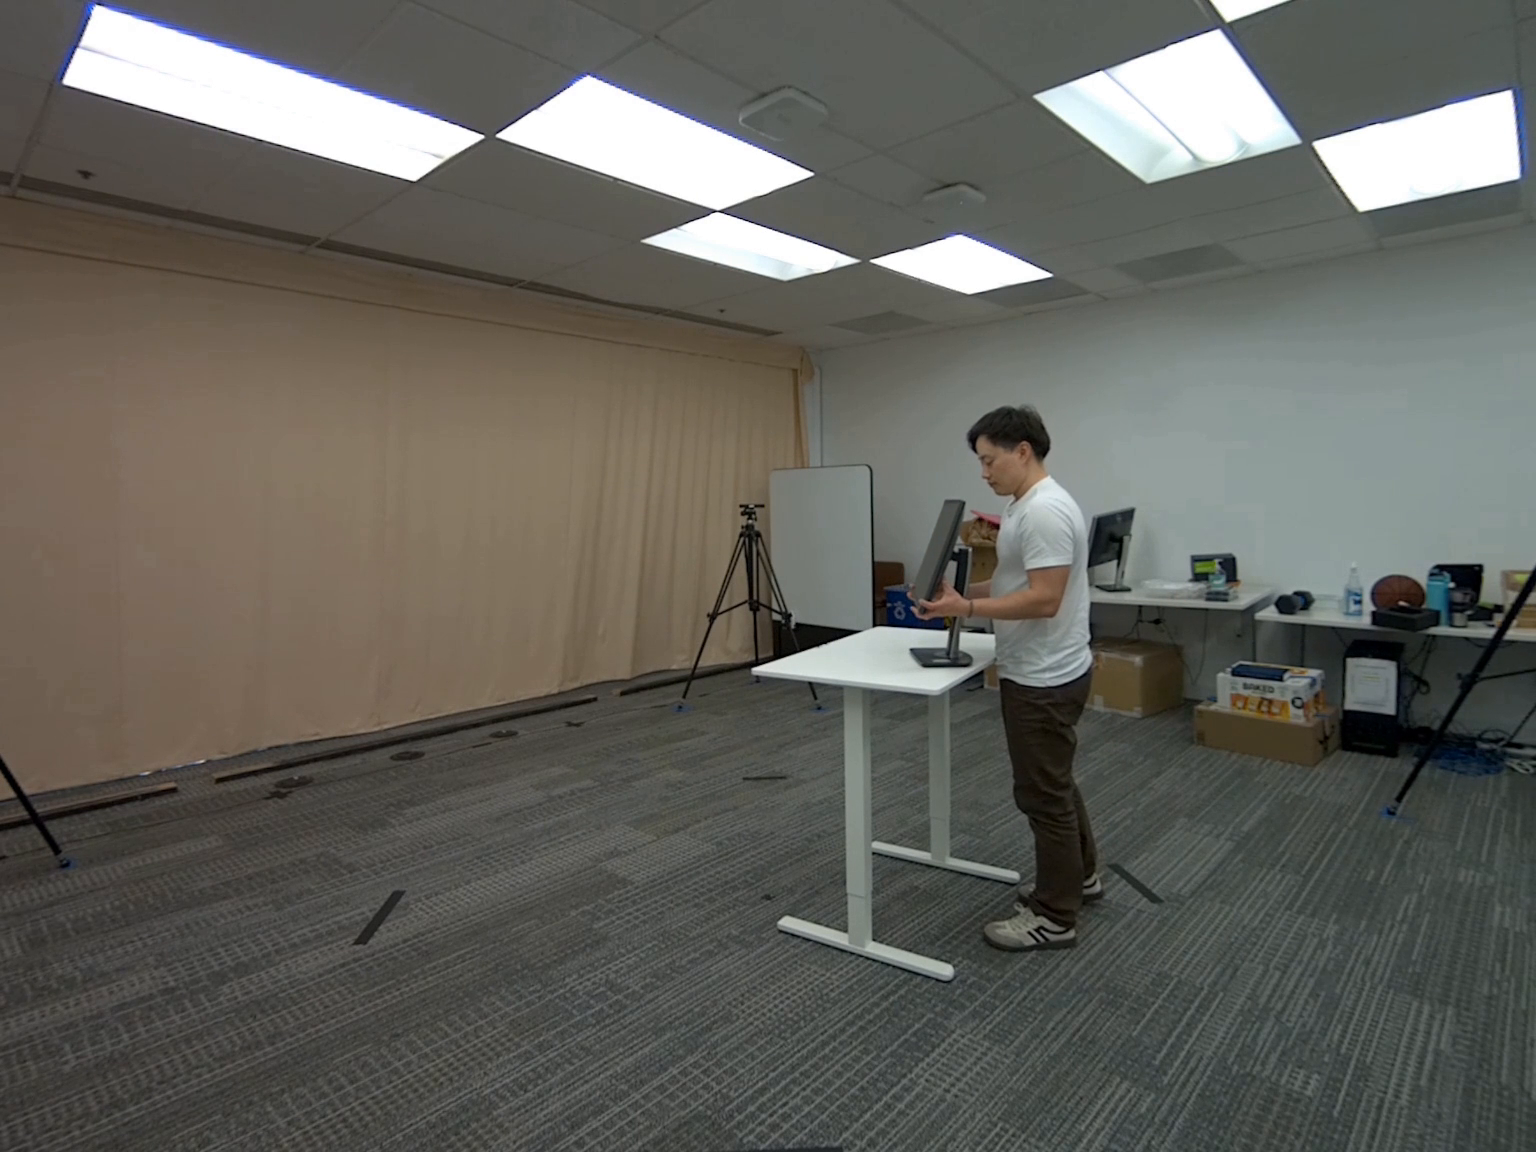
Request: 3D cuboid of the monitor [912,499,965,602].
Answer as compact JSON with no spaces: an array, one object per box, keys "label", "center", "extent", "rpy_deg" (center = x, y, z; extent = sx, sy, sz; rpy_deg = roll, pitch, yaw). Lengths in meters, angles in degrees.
[{"label":"monitor","center":[0.585,0.017,2.716],"extent":[0.189,0.521,0.536],"rpy_deg":[2,4,6]}]
